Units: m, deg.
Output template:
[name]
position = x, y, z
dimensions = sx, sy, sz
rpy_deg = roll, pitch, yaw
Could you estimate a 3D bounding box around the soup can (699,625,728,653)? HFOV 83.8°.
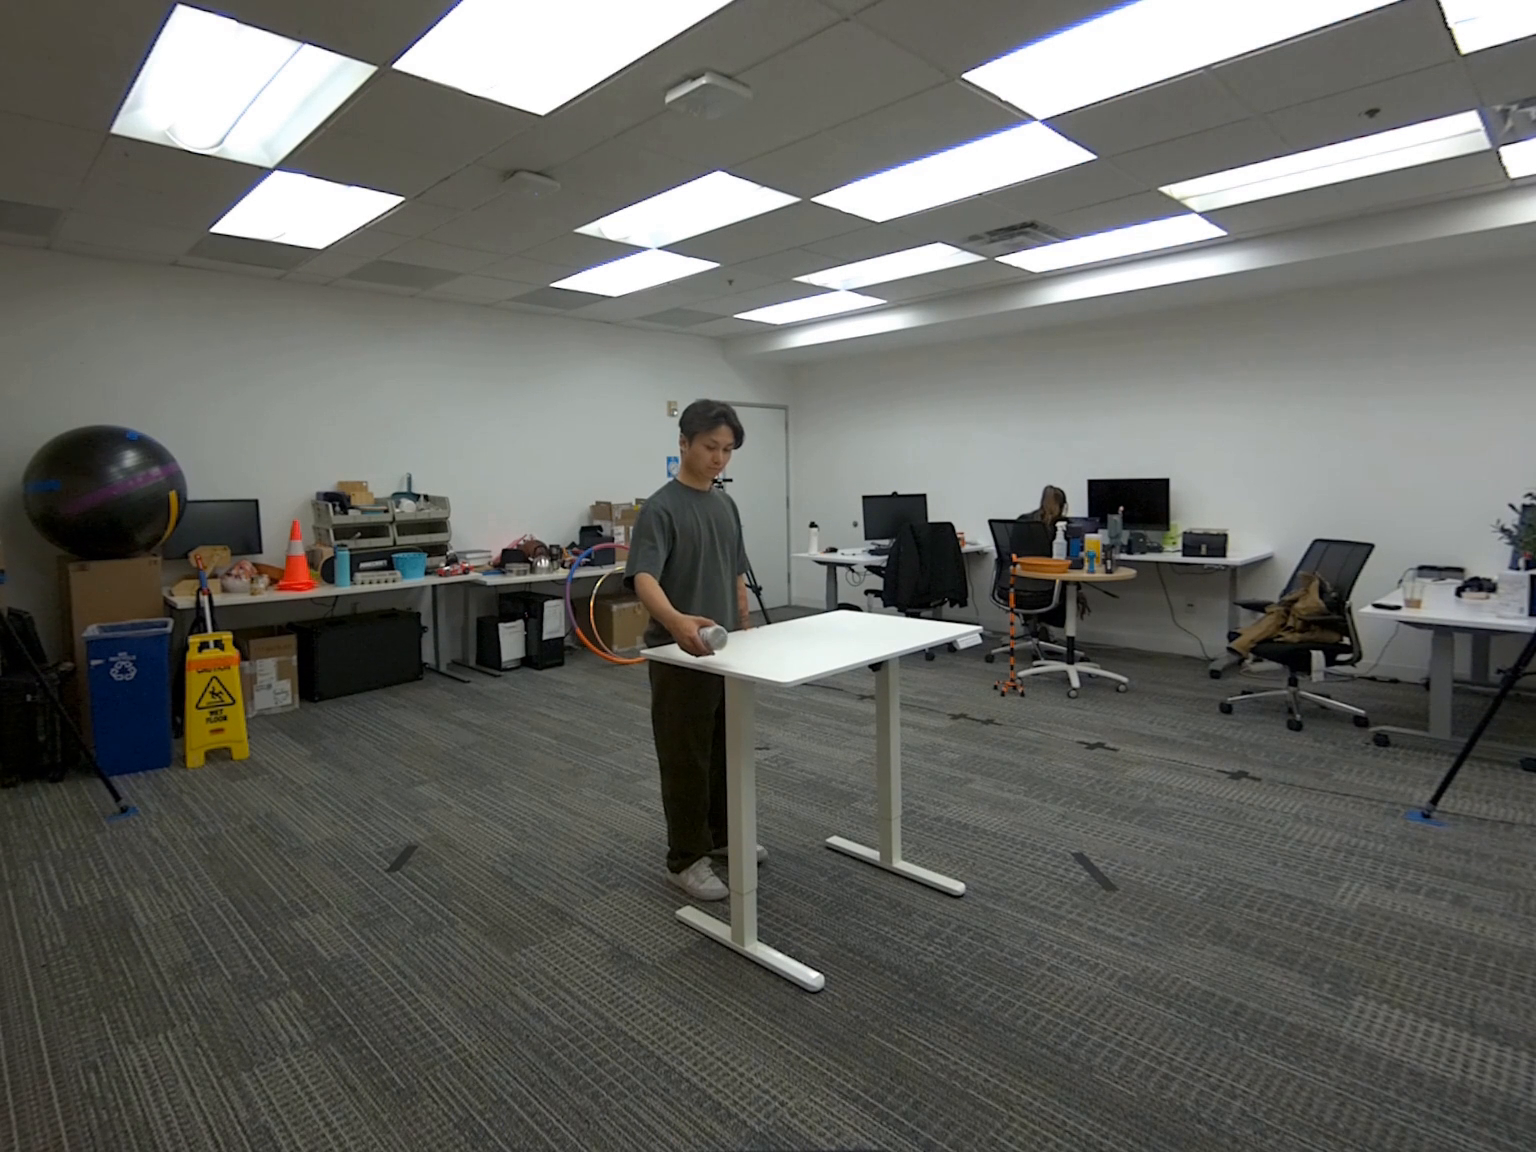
[soup can]
position = -0.169, 0.174, 2.389
dimensions = 0.065, 0.067, 0.124
rpy_deg = -4, -4, -37
